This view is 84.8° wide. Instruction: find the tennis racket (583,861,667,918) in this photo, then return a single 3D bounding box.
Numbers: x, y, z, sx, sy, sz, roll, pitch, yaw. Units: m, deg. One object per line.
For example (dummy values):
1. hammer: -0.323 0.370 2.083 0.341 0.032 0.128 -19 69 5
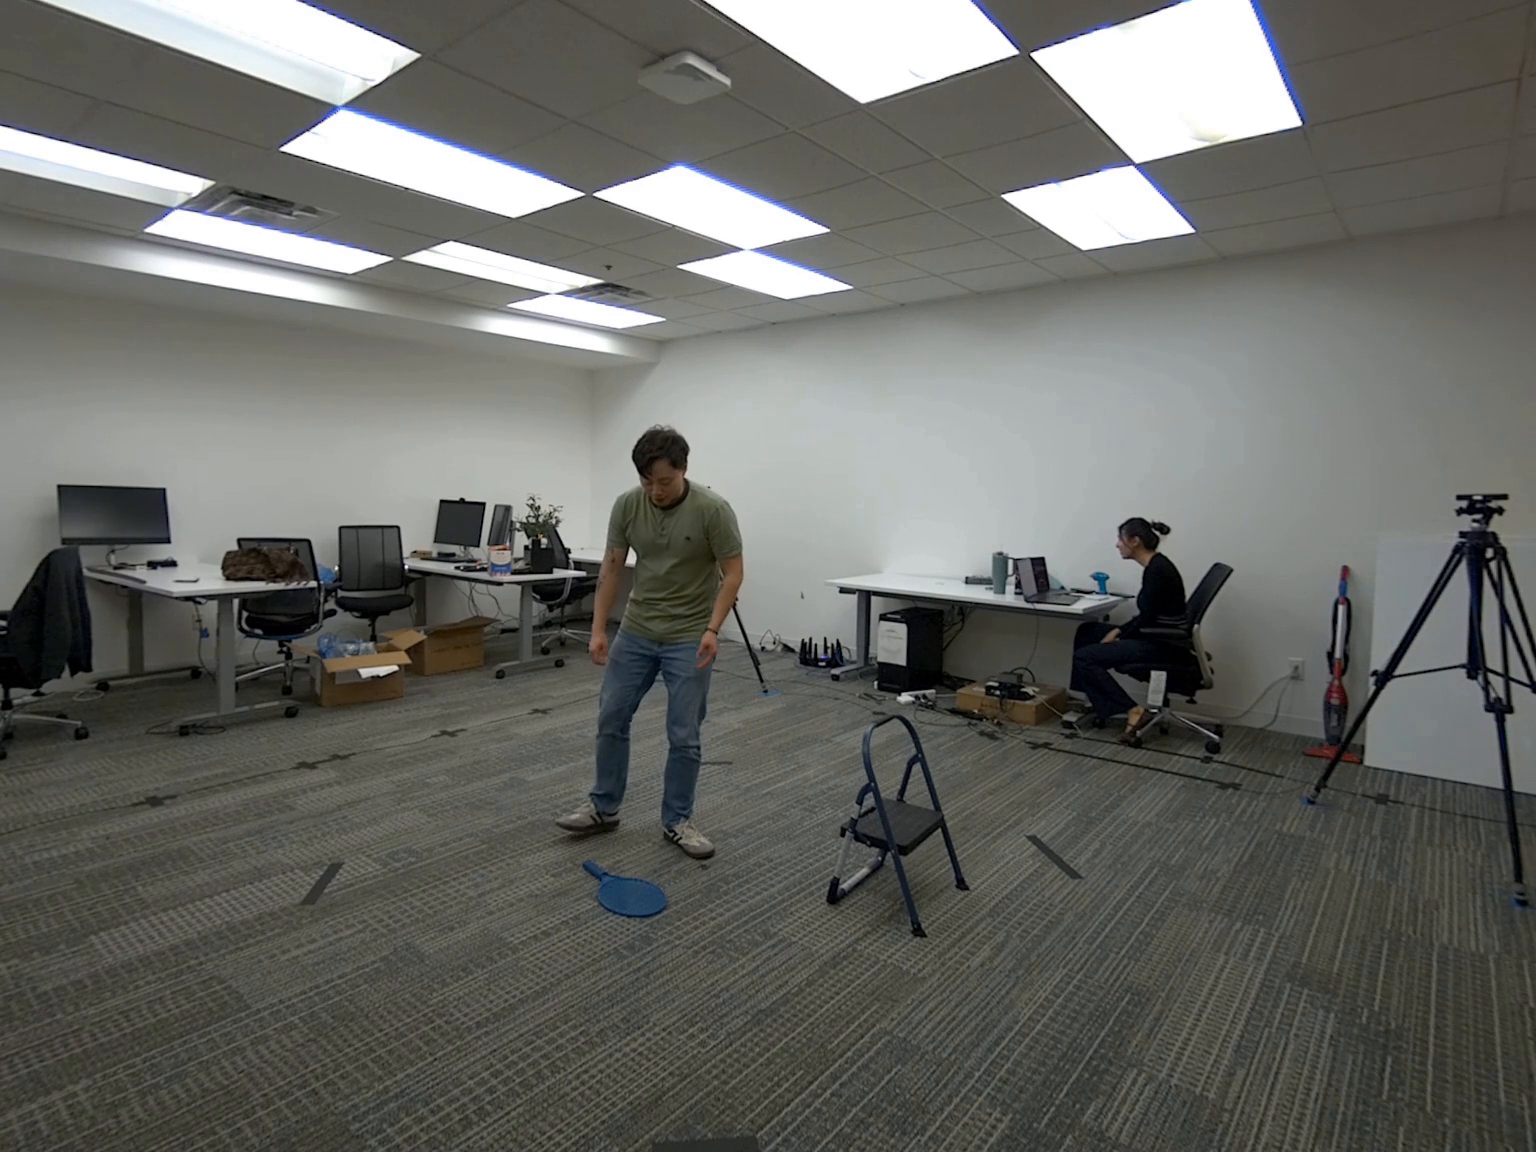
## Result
1. tennis racket: -0.523 1.068 2.920 0.207 0.031 0.448 -5 9 -42
